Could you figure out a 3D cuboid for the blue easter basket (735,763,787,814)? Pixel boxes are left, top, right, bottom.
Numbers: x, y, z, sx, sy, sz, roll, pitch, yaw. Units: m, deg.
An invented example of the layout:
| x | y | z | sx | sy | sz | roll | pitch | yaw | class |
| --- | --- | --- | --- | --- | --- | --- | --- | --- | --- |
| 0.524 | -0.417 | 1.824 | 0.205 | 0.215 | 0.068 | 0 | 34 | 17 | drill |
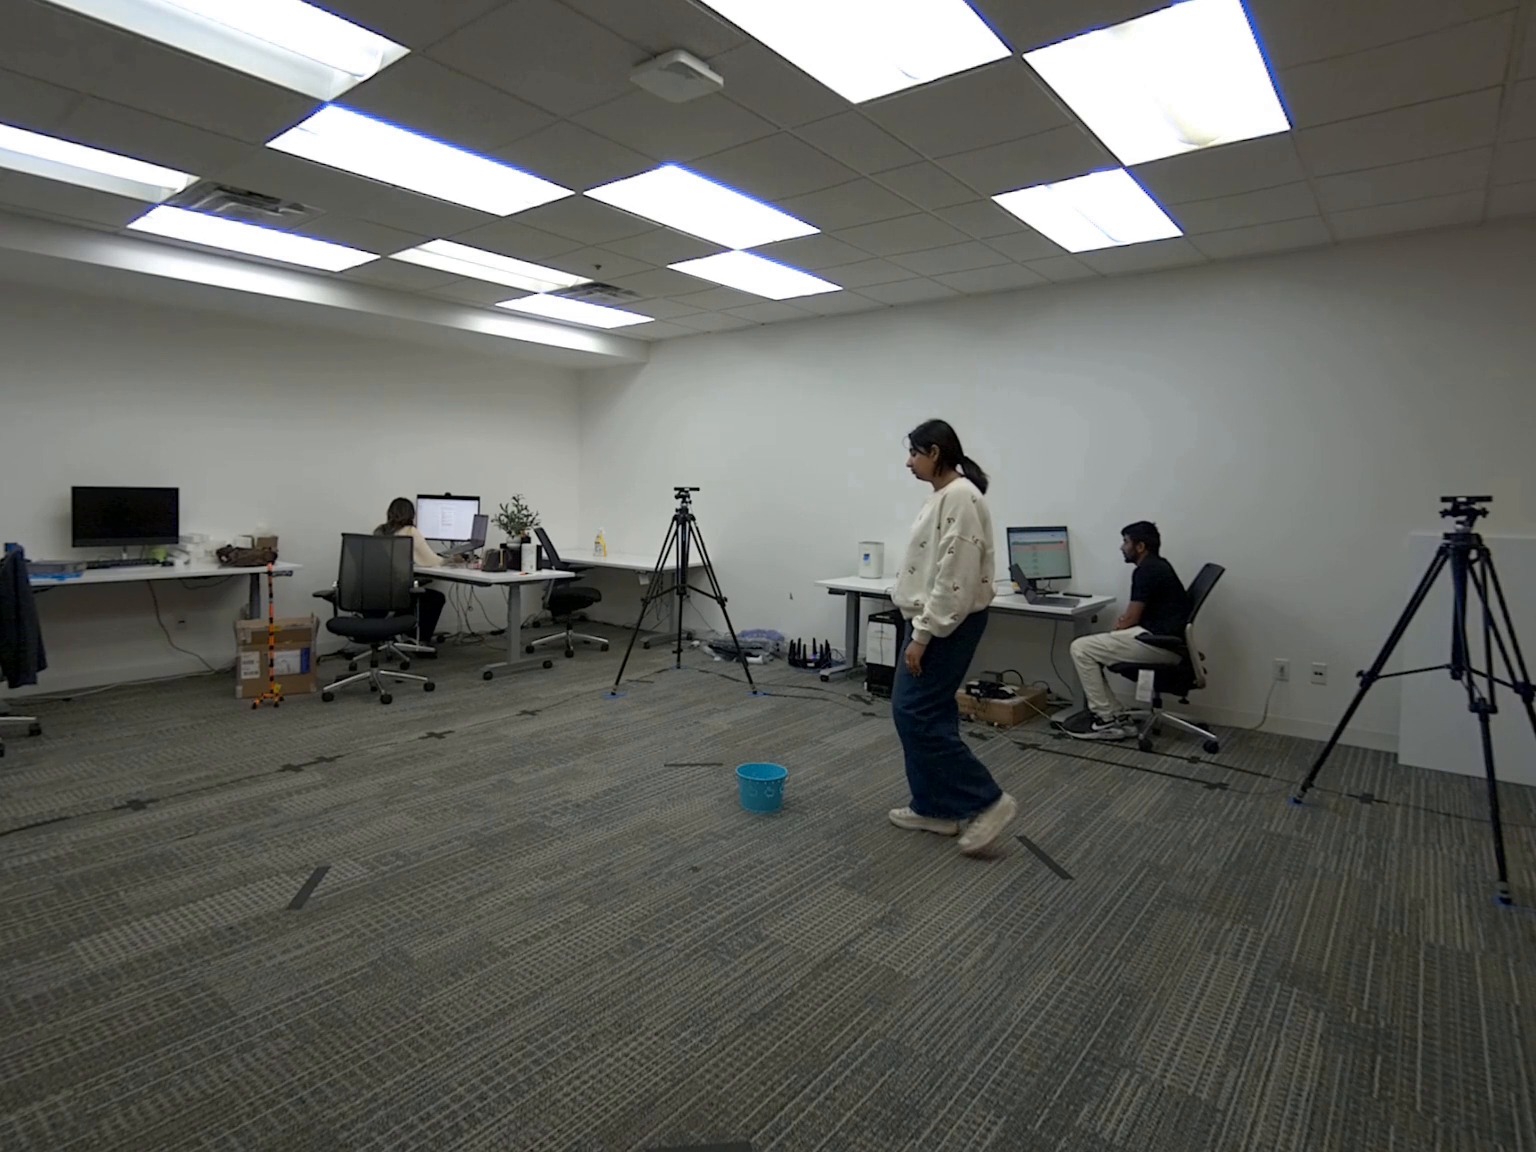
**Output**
| x | y | z | sx | sy | sz | roll | pitch | yaw | class |
| --- | --- | --- | --- | --- | --- | --- | --- | --- | --- |
| -0.034 | 0.928 | 3.753 | 0.243 | 0.155 | 0.245 | 1 | 6 | -2 | blue easter basket |
